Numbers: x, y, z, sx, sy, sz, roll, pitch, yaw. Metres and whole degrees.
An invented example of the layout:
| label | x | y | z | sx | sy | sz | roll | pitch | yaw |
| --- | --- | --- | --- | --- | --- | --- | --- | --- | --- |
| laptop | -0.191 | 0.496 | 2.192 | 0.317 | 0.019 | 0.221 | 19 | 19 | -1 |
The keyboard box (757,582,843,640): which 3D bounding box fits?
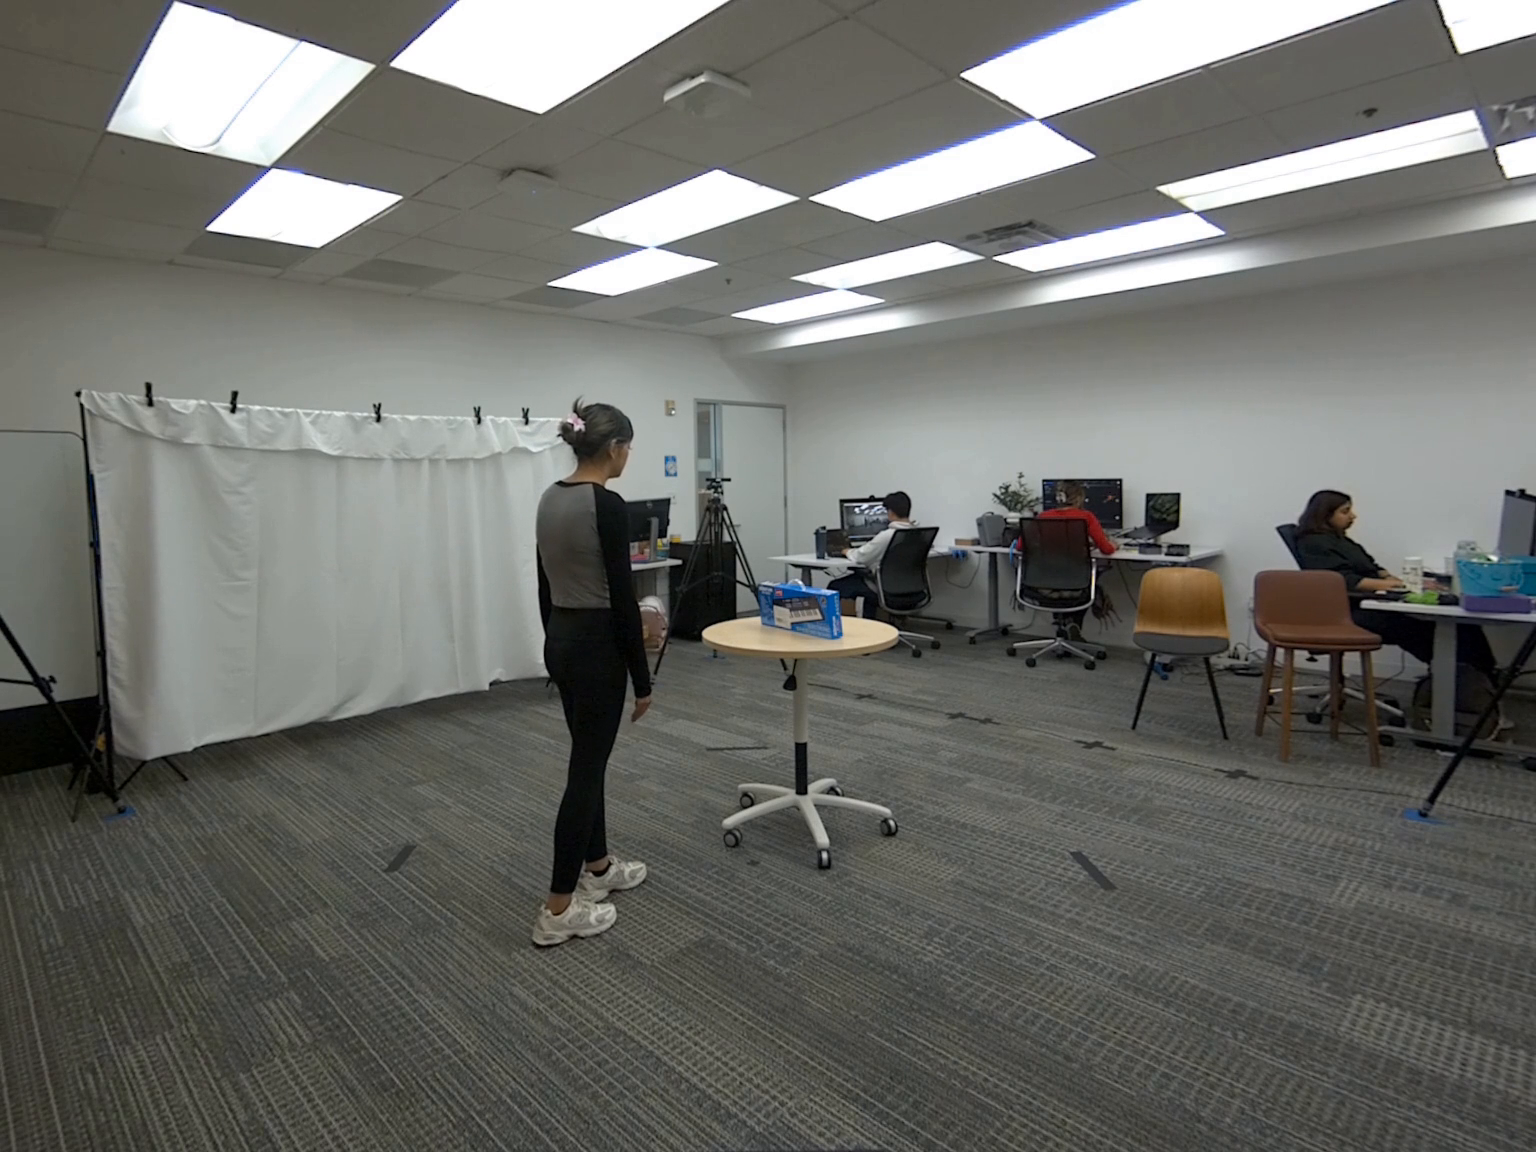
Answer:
| label | x | y | z | sx | sy | sz | roll | pitch | yaw |
| --- | --- | --- | --- | --- | --- | --- | --- | --- | --- |
| keyboard box | 0.122 | 0.132 | 3.354 | 0.058 | 0.174 | 0.450 | -10 | 10 | -35 |
